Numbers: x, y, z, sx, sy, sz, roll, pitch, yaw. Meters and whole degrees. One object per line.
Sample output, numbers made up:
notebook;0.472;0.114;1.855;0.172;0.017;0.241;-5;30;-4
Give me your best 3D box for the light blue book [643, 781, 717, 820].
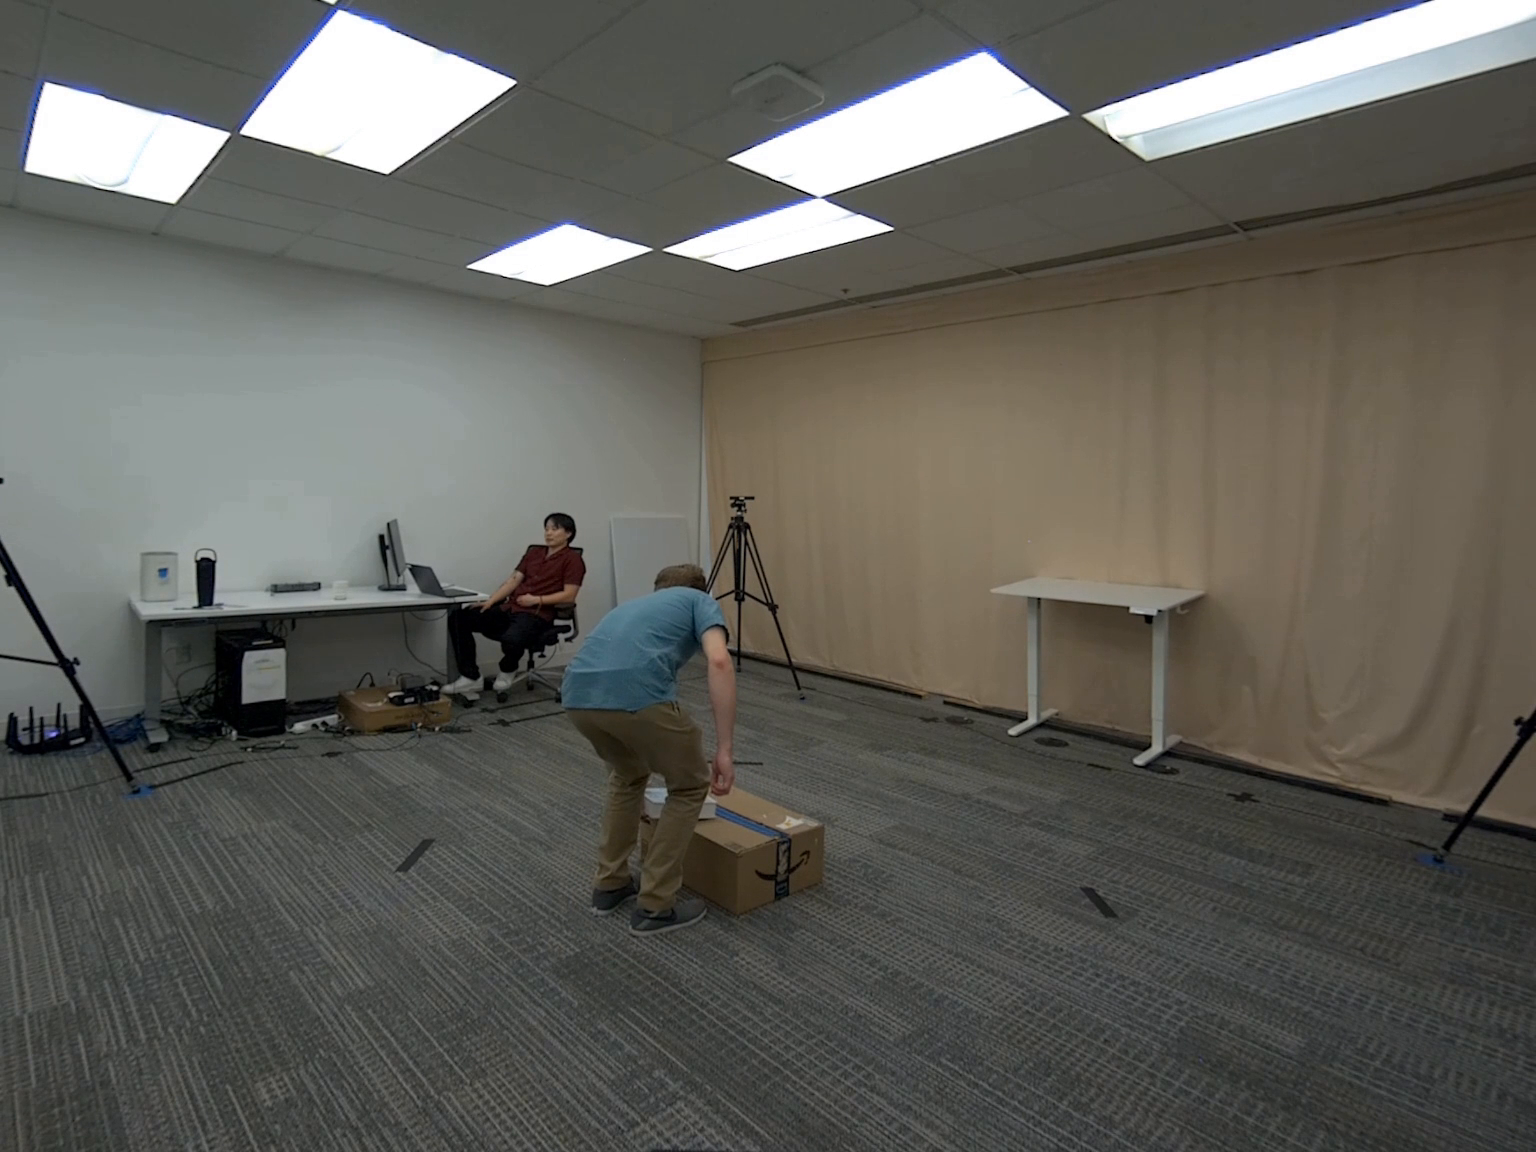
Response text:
light blue book;-0.347;0.846;3.130;0.255;0.059;0.195;8;-1;-27
